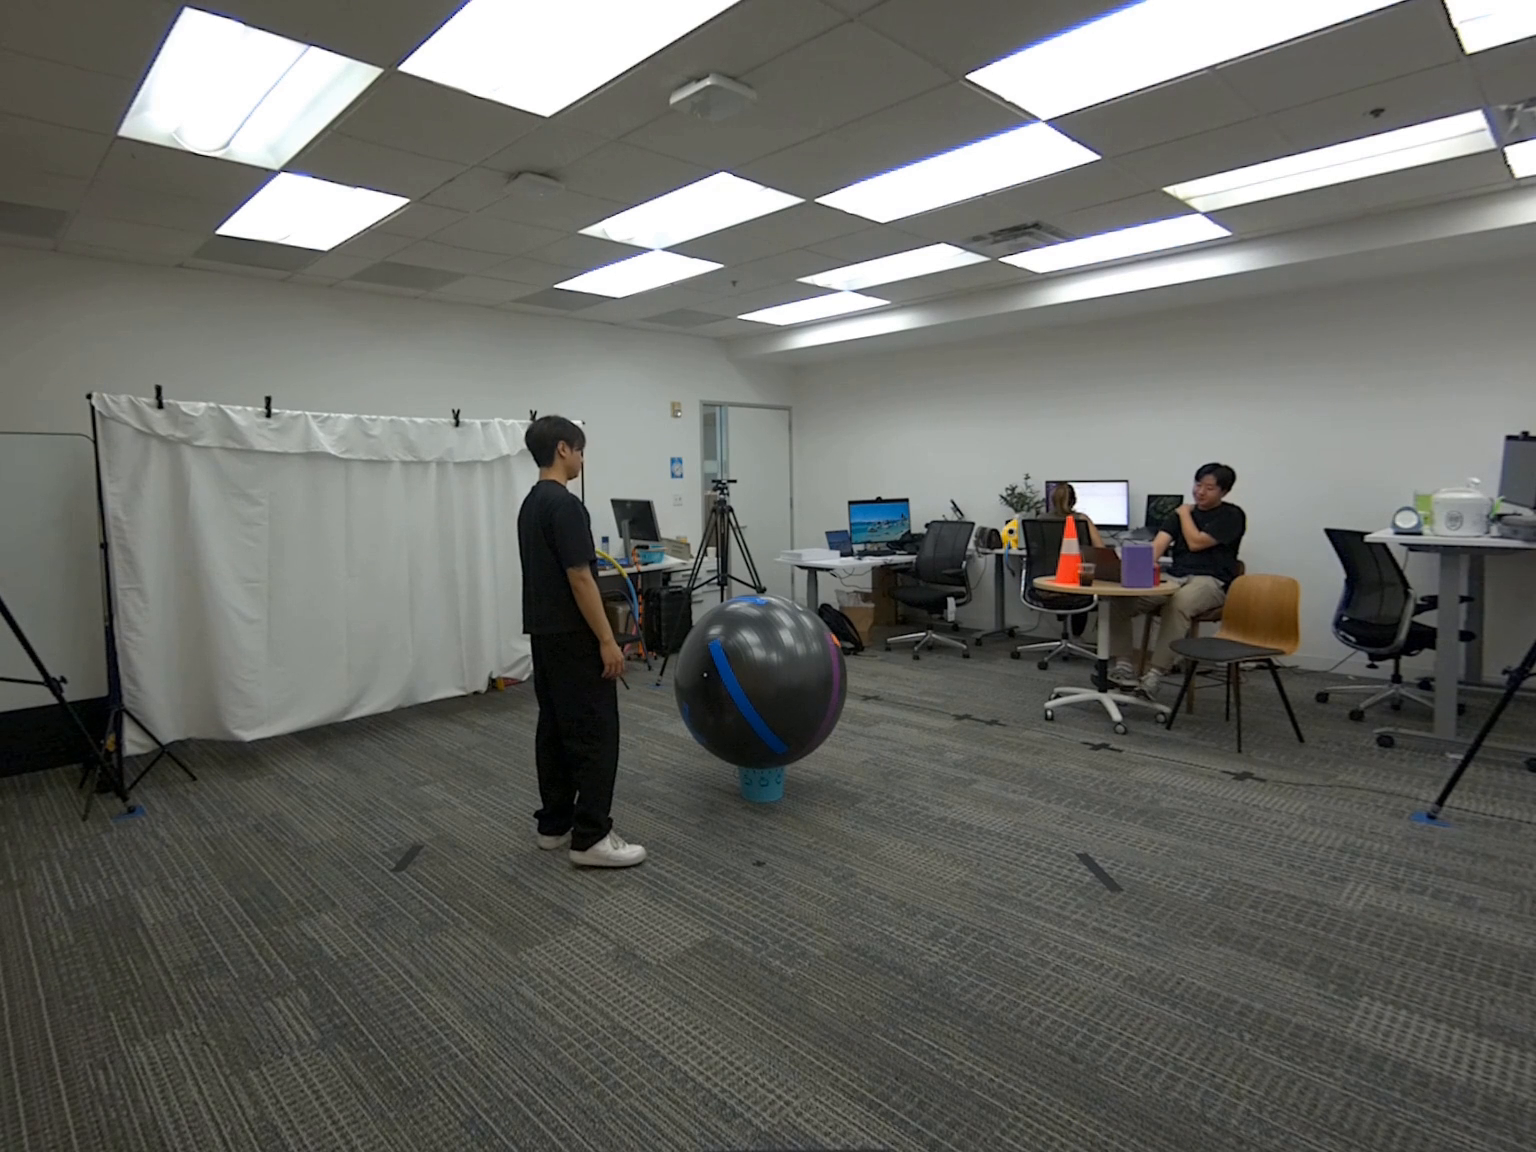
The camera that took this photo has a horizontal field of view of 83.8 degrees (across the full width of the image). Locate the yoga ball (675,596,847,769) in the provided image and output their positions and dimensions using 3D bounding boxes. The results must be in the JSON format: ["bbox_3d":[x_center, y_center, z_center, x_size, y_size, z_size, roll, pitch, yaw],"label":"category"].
[{"bbox_3d":[-0.029,0.461,3.768,0.757,0.755,0.762,-1,5,-2],"label":"yoga ball"}]
